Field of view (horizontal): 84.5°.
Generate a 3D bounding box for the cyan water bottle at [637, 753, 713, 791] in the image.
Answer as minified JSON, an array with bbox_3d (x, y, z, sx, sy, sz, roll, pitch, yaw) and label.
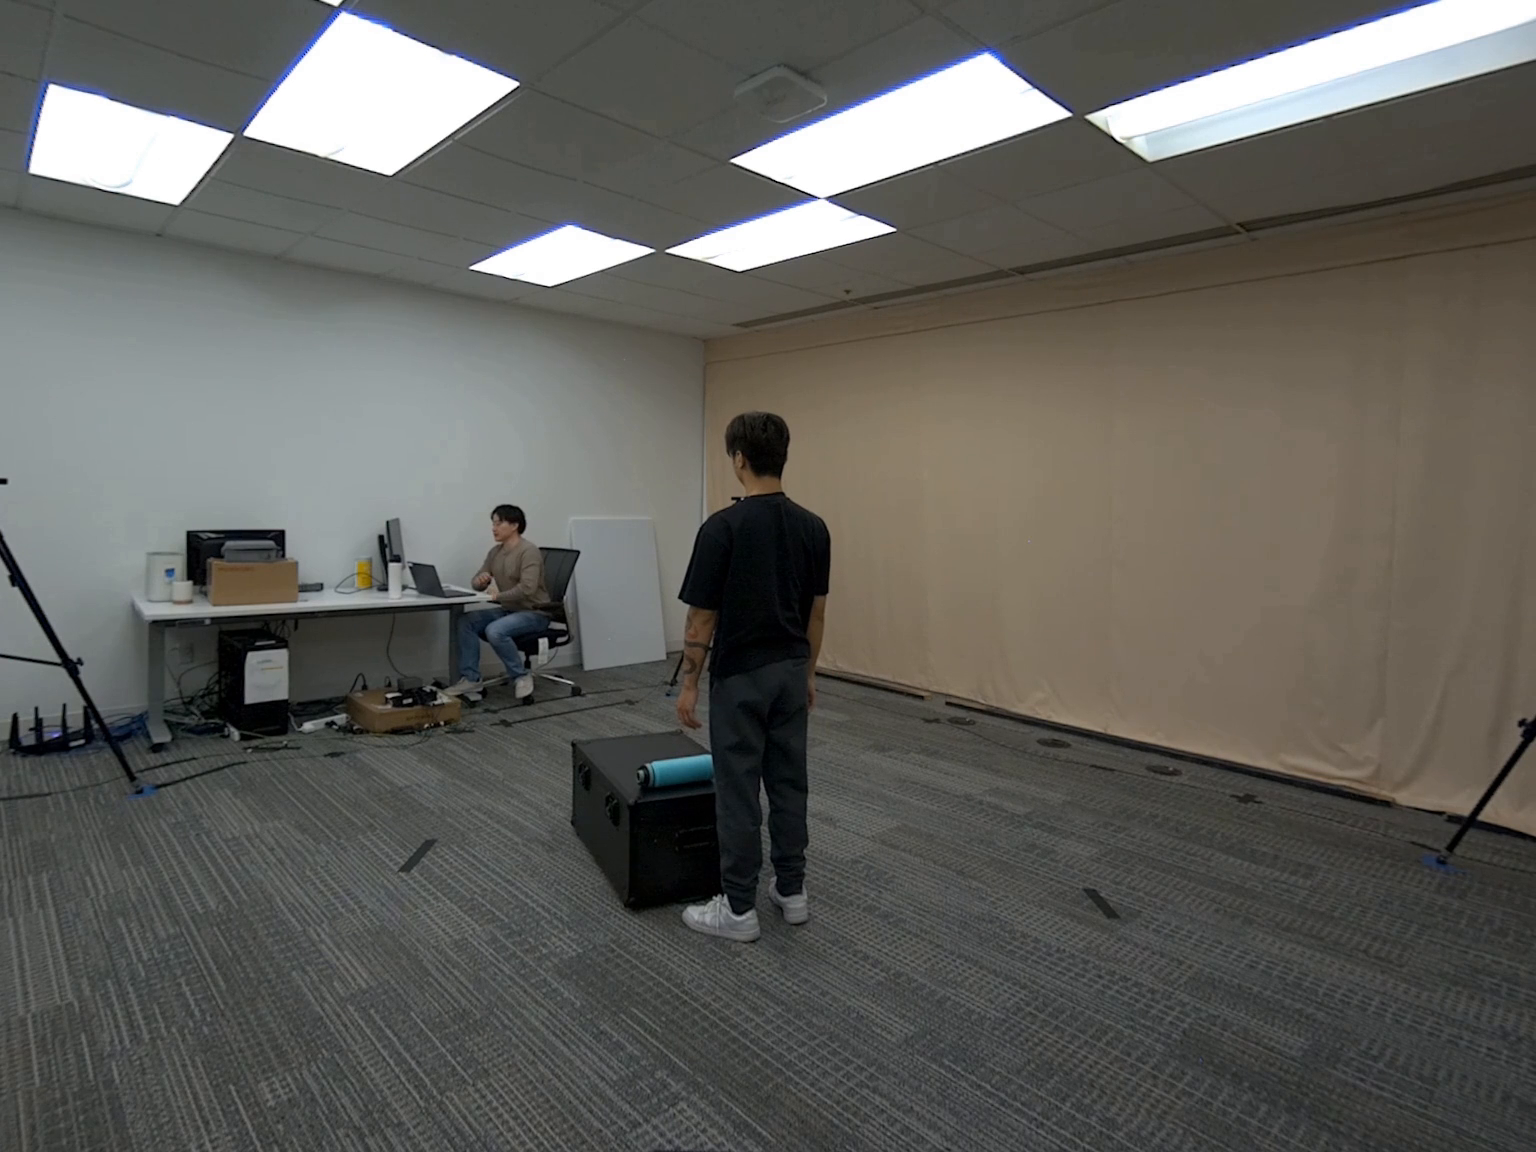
[{"bbox_3d":[-0.333,0.693,2.977,0.278,0.092,0.094,-3,6,-25],"label":"cyan water bottle"}]
